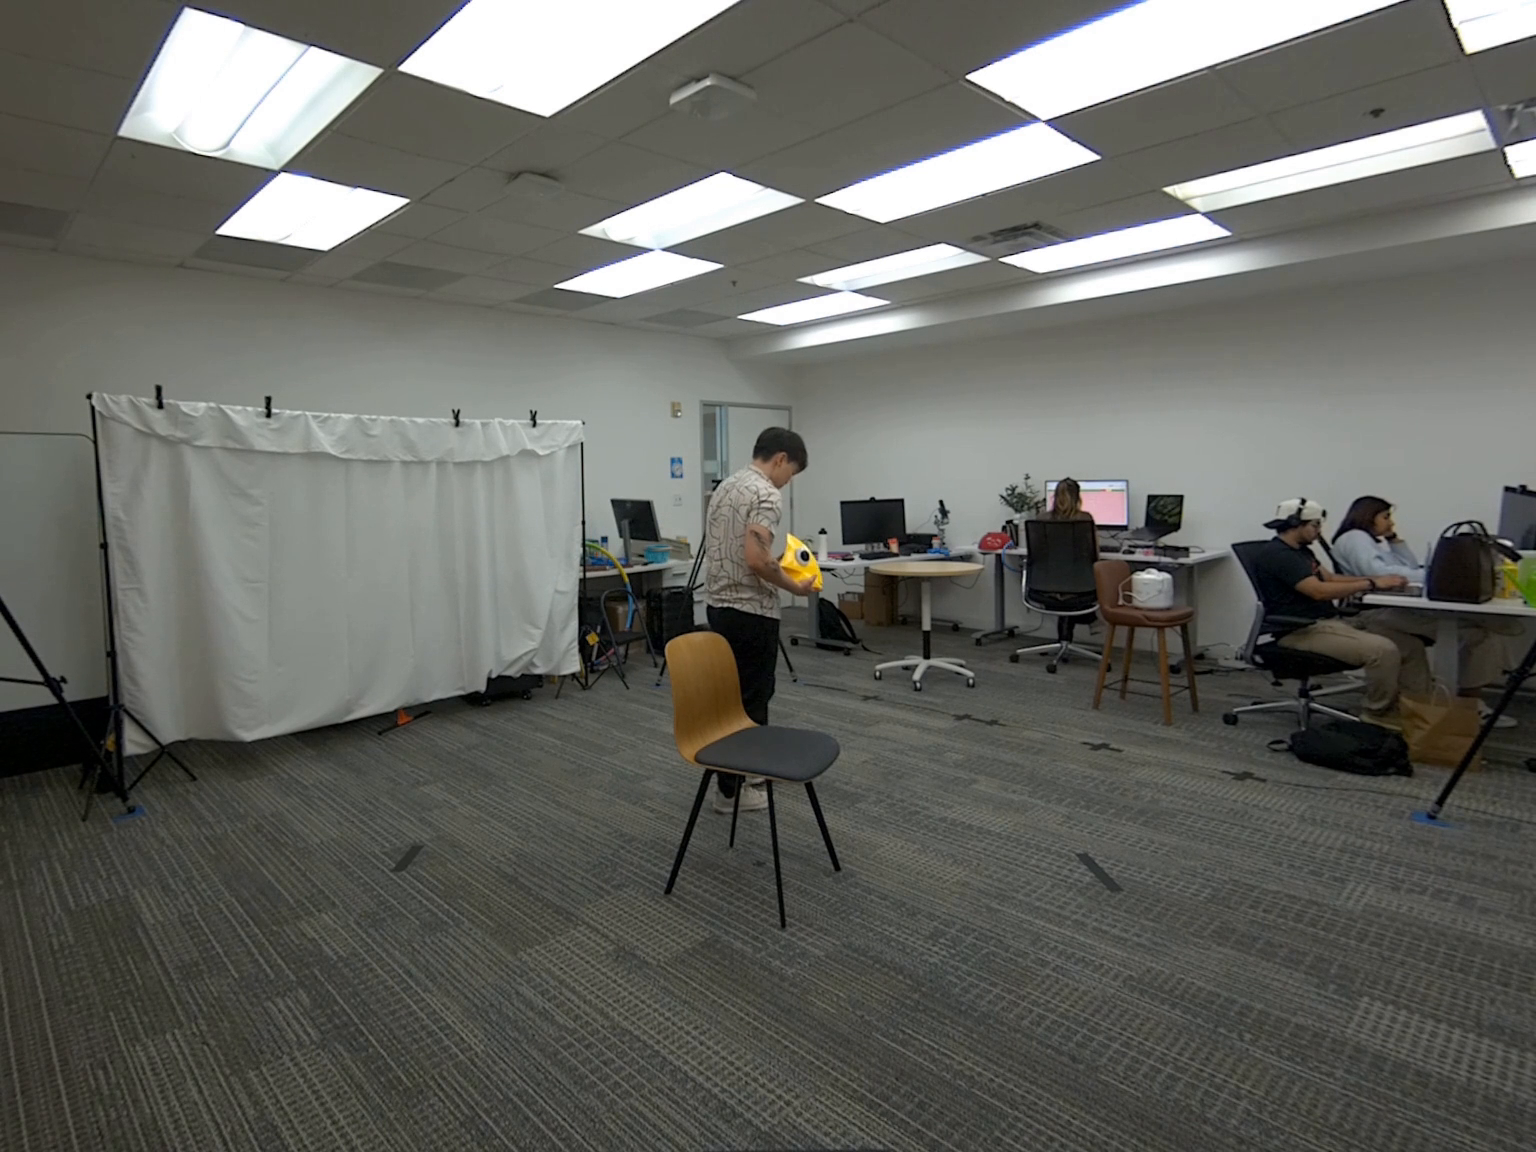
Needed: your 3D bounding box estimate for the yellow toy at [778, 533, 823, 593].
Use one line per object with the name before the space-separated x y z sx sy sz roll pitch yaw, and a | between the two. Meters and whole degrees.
yellow toy | 0.133 -0.061 3.599 0.193 0.232 0.203 3 -6 1
